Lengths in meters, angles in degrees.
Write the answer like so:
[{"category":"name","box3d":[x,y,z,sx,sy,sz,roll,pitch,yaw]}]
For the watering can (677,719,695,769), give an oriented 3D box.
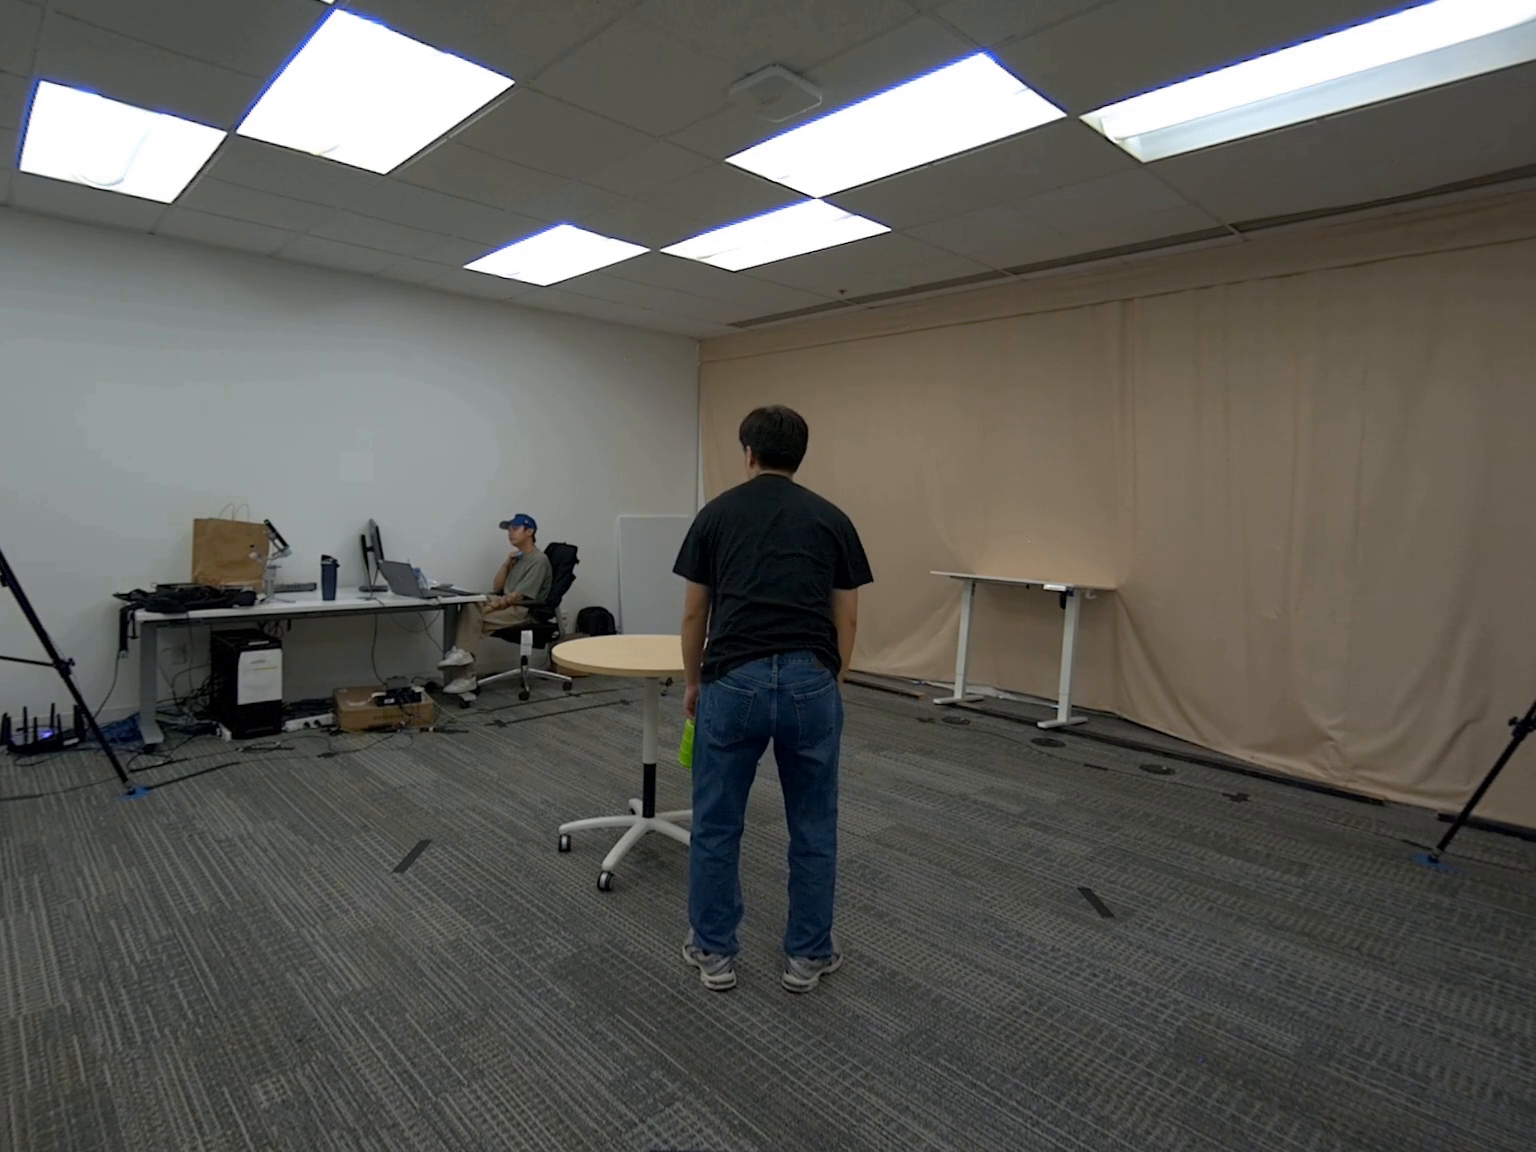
[{"category":"watering can","box3d":[-0.216,0.528,2.732,0.099,0.176,0.275,11,6,15]}]
